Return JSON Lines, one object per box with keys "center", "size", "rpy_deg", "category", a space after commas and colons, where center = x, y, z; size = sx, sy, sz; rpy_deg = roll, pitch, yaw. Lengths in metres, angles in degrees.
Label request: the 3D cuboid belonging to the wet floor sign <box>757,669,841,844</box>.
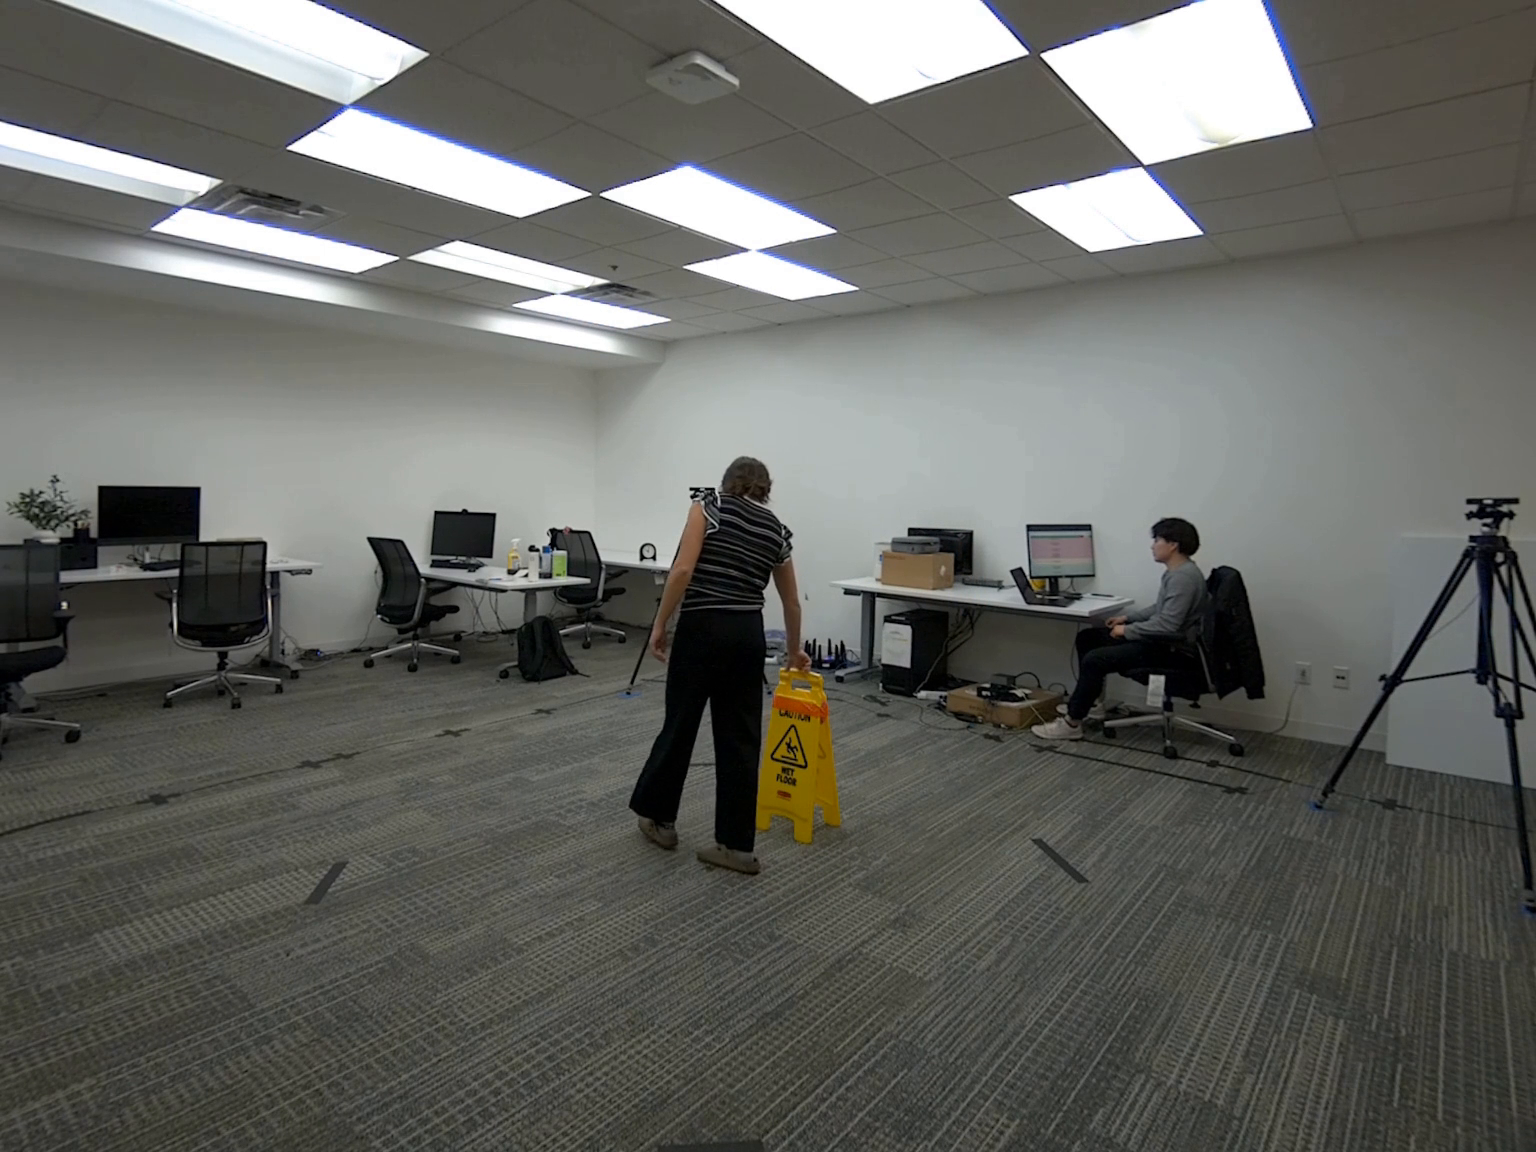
{"center": [0.117, 0.709, 3.508], "size": [0.291, 0.645, 0.281], "rpy_deg": [4, 3, 36], "category": "wet floor sign"}
